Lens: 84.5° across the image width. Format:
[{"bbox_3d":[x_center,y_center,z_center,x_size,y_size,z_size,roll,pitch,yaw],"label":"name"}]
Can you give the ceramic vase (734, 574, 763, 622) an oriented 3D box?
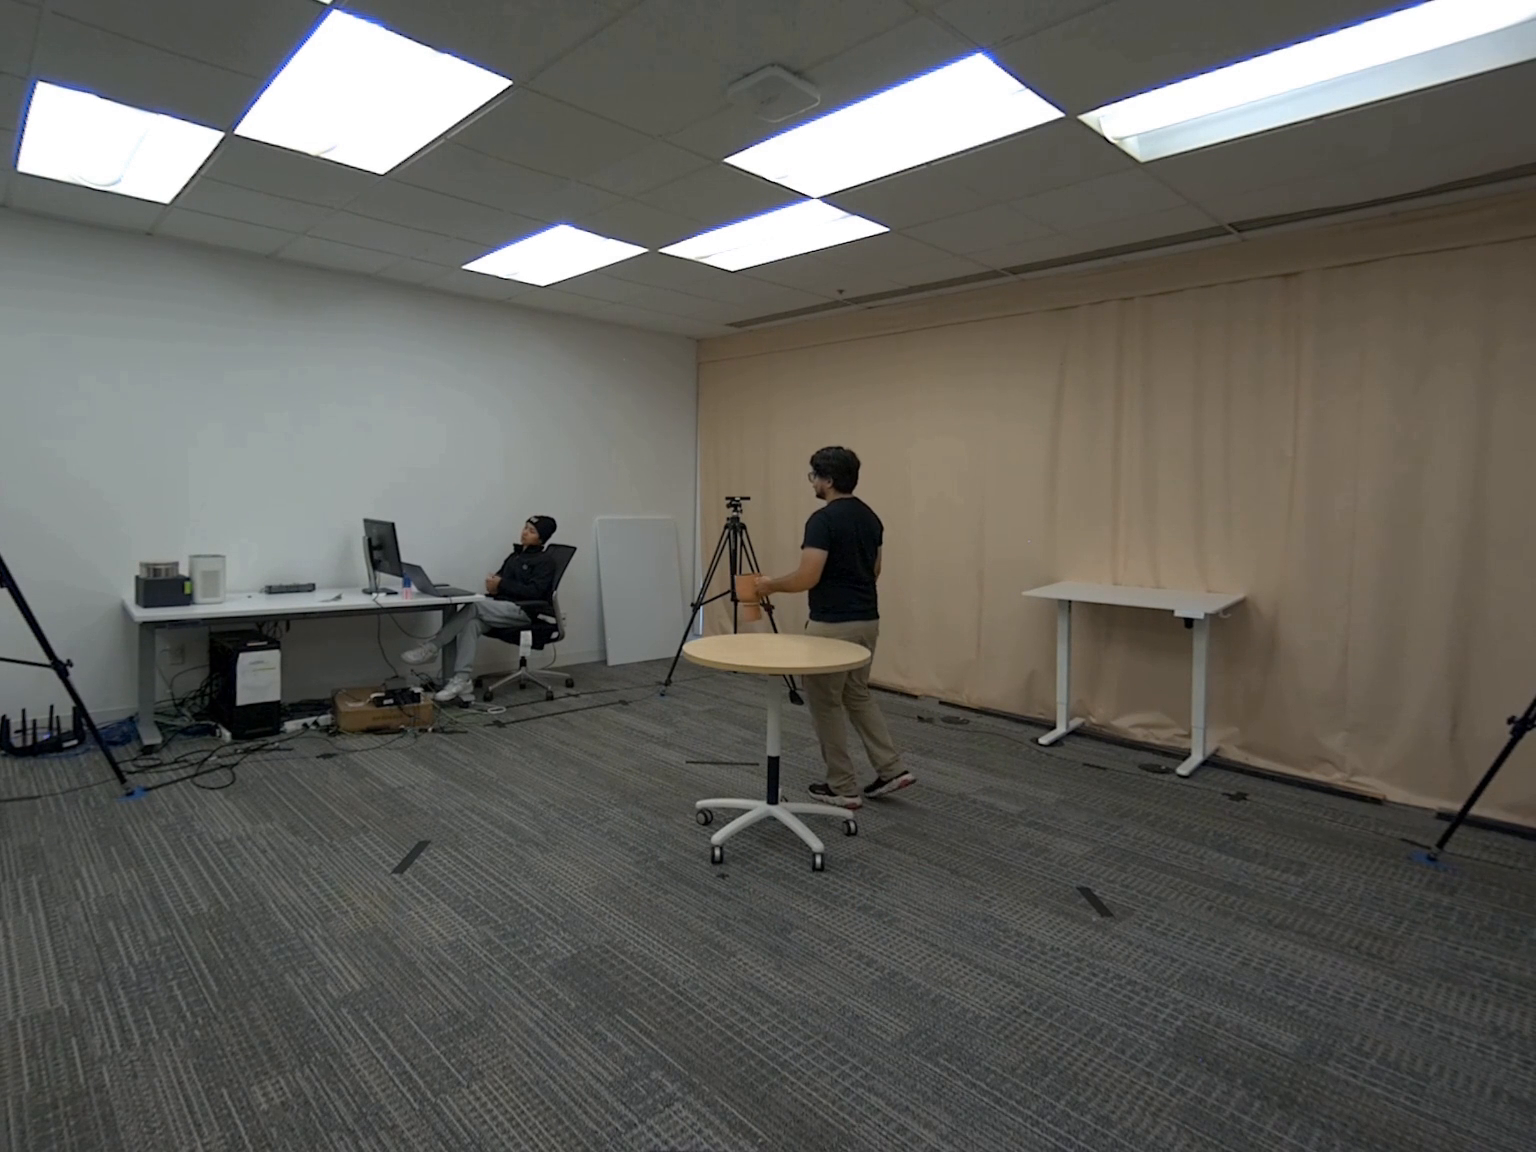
[{"bbox_3d":[-0.086,0.098,4.059,0.135,0.220,0.158,-6,1,3],"label":"ceramic vase"}]
